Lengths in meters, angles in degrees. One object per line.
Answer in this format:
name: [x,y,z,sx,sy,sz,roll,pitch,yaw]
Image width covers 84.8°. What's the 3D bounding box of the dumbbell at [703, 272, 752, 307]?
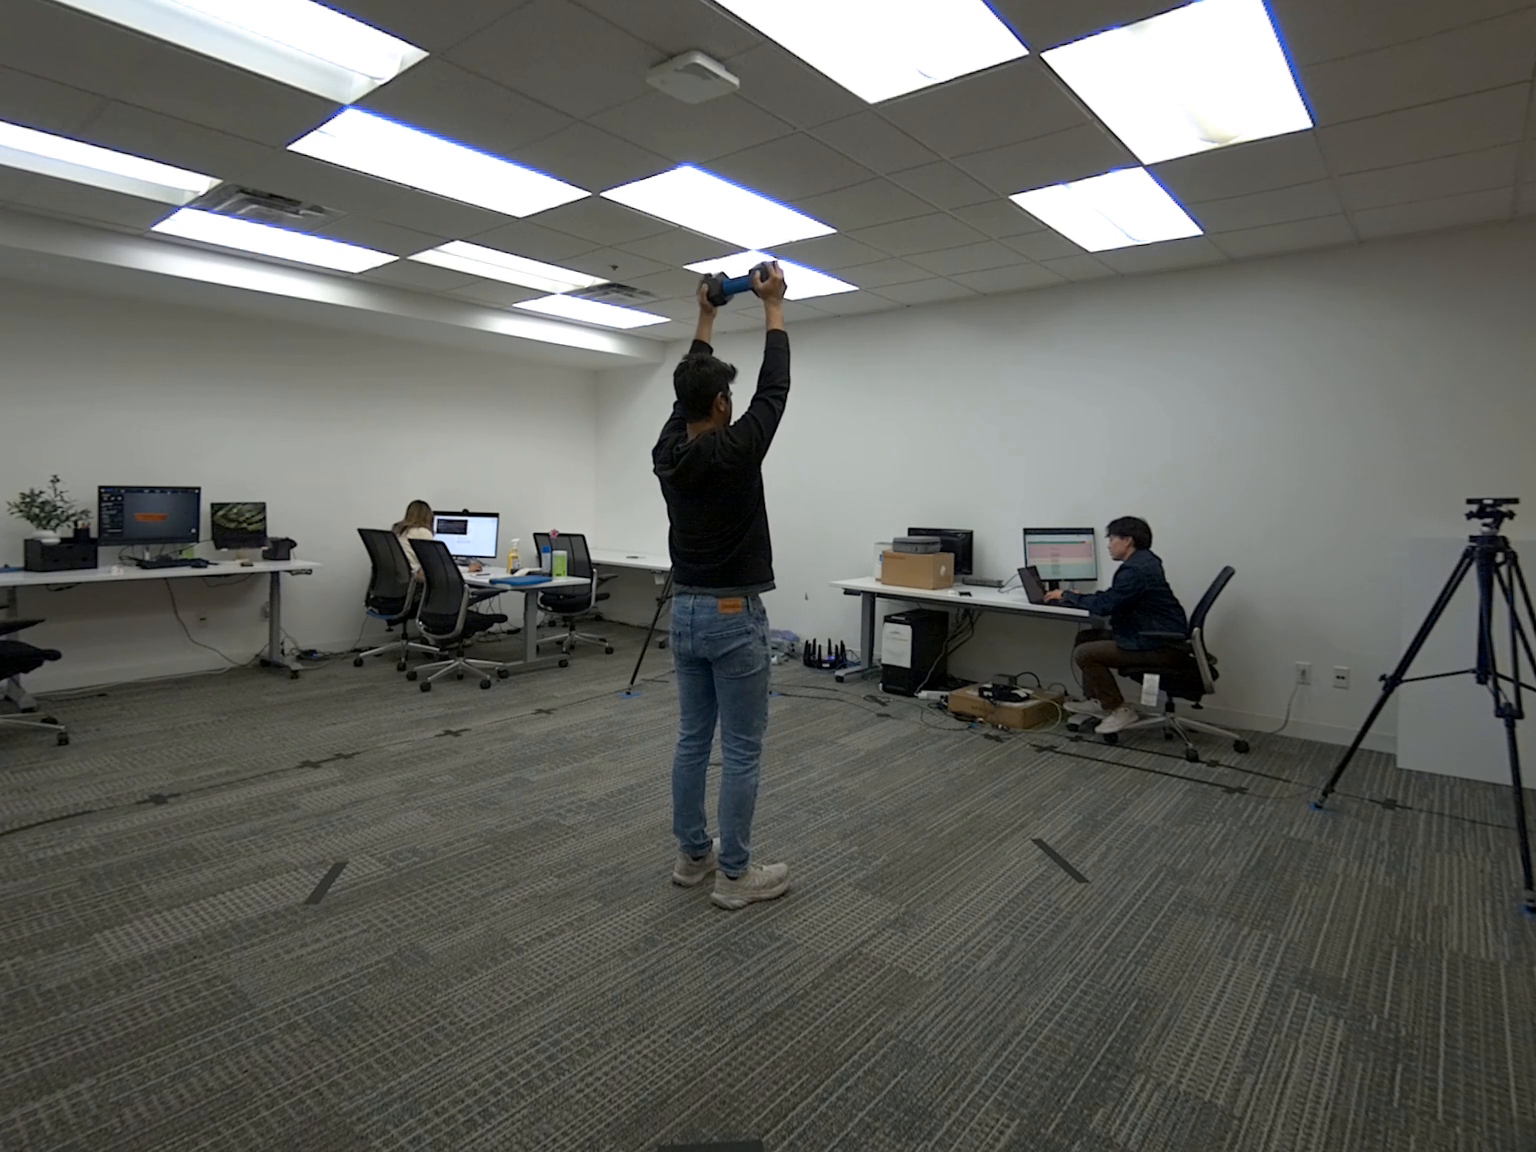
dumbbell: [-0.108,-1.029,3.007,0.303,0.110,0.118,3,-16,38]
